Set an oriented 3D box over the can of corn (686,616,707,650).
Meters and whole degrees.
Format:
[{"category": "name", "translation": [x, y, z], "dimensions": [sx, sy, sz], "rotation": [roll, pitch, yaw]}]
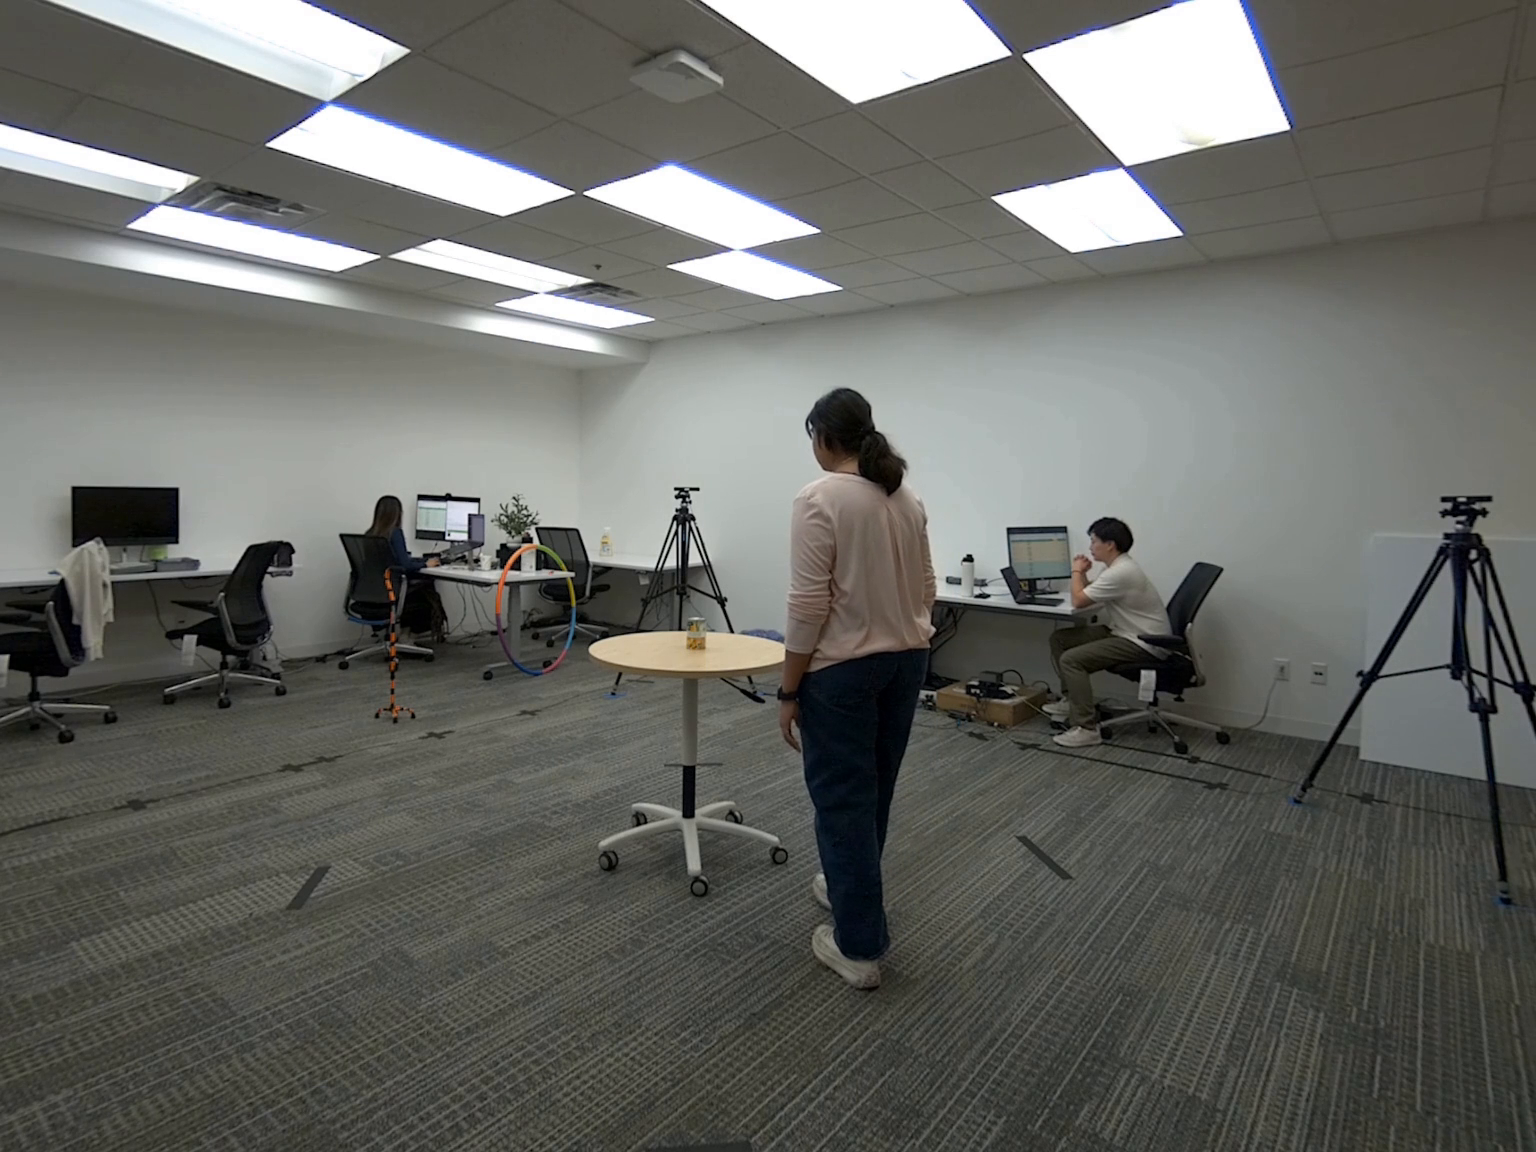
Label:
[{"category": "can of corn", "translation": [-0.282, 0.216, 3.220], "dimensions": [0.074, 0.111, 0.074], "rotation": [0, 3, -2]}]
